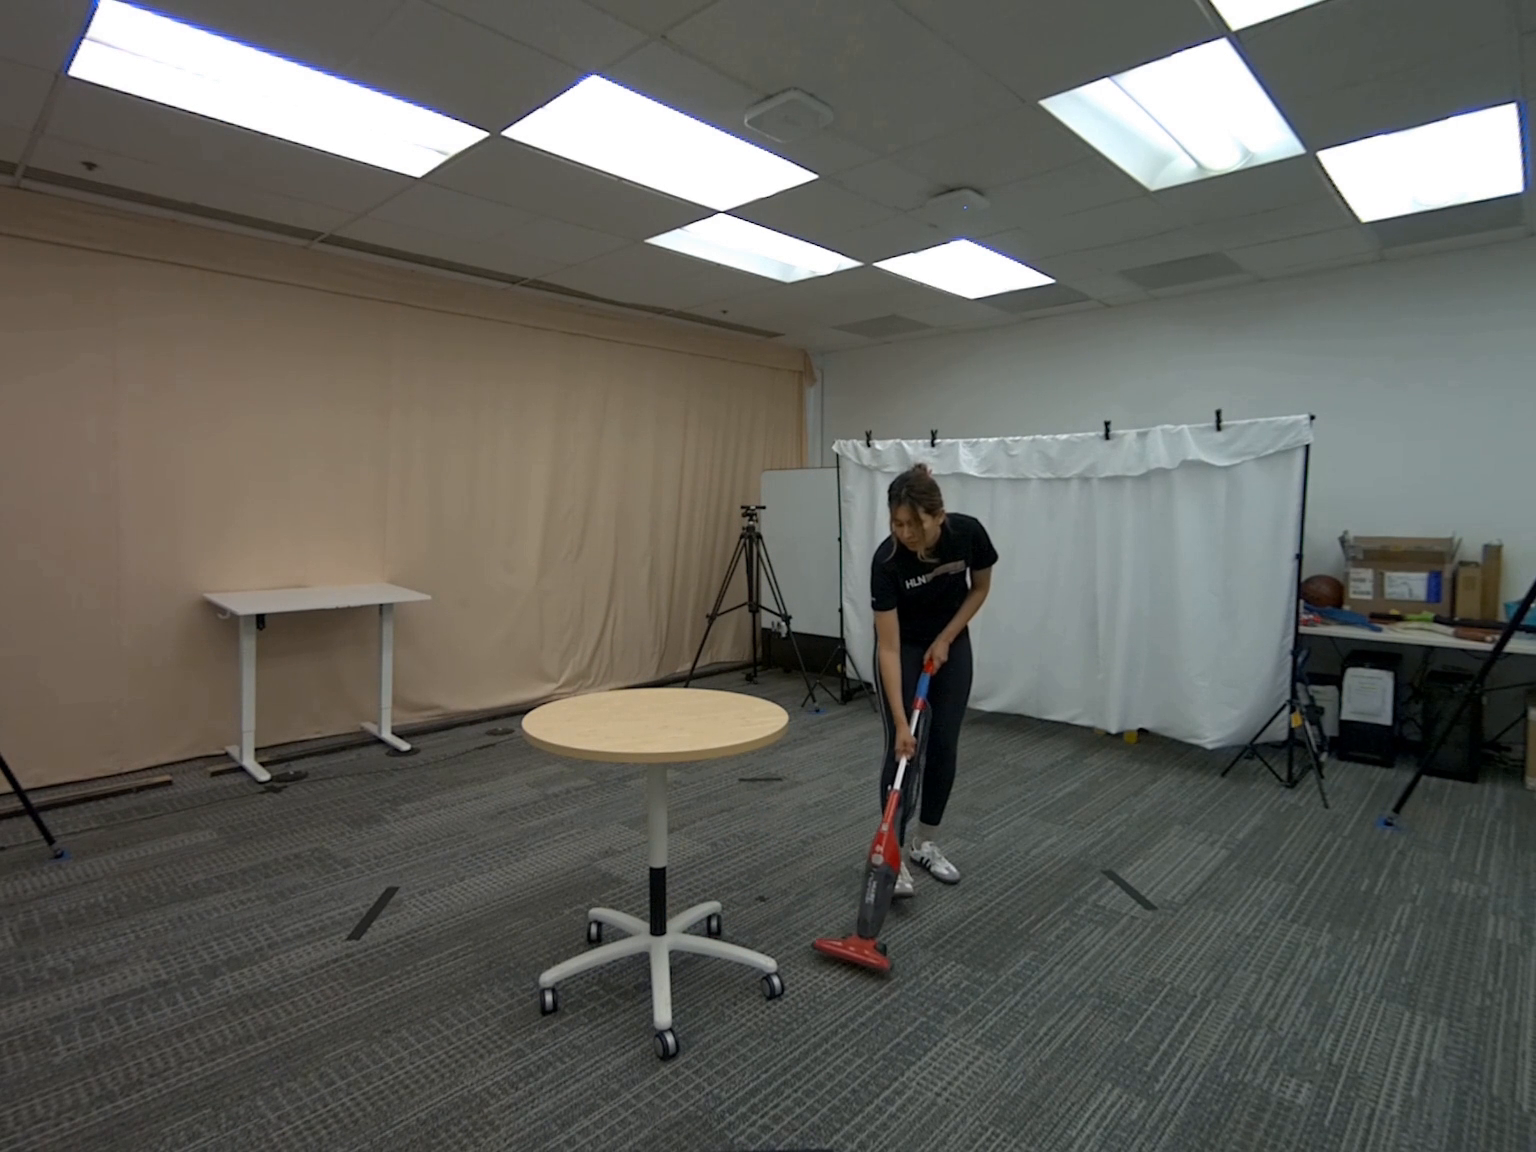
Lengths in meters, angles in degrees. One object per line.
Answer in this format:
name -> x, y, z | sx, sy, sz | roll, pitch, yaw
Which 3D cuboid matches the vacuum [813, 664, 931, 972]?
vacuum -> 0.439, 0.736, 2.806 | 0.260, 1.054, 0.139 | 4, -33, 29
